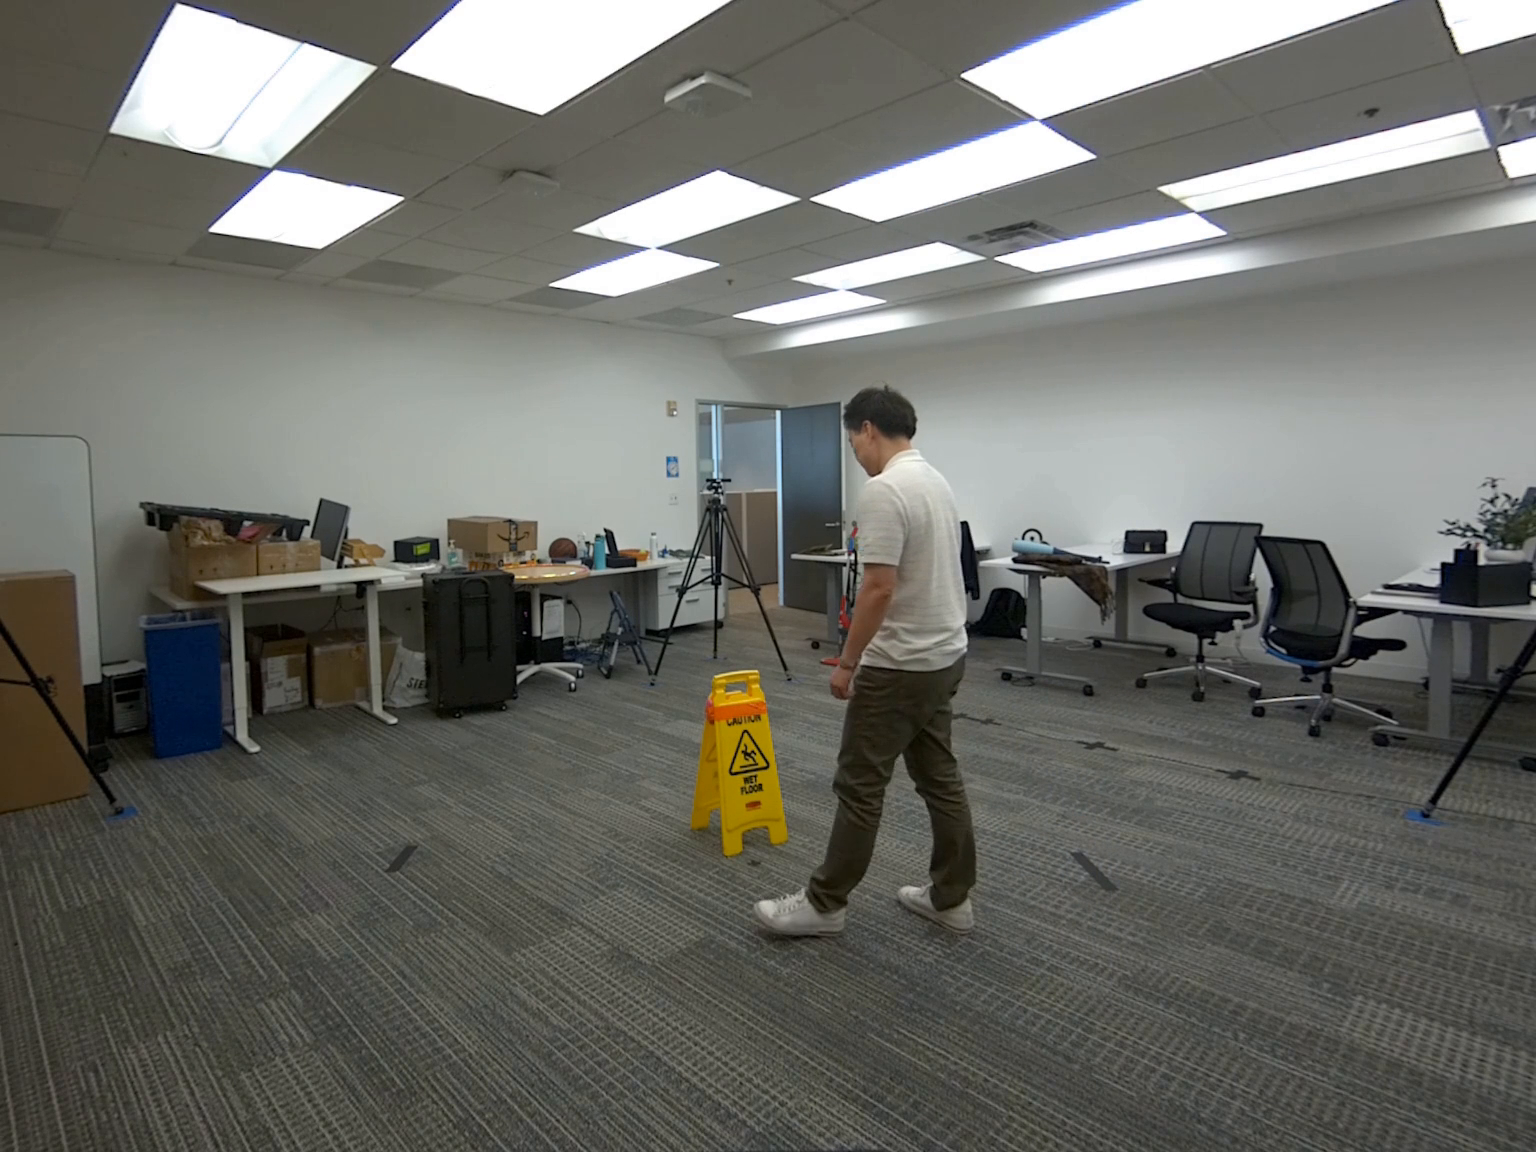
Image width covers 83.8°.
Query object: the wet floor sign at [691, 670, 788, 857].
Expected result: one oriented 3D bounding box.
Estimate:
[{"bbox_3d":[-0.118,0.695,3.334,0.276,0.644,0.298,-3,5,-30],"label":"wet floor sign"}]
